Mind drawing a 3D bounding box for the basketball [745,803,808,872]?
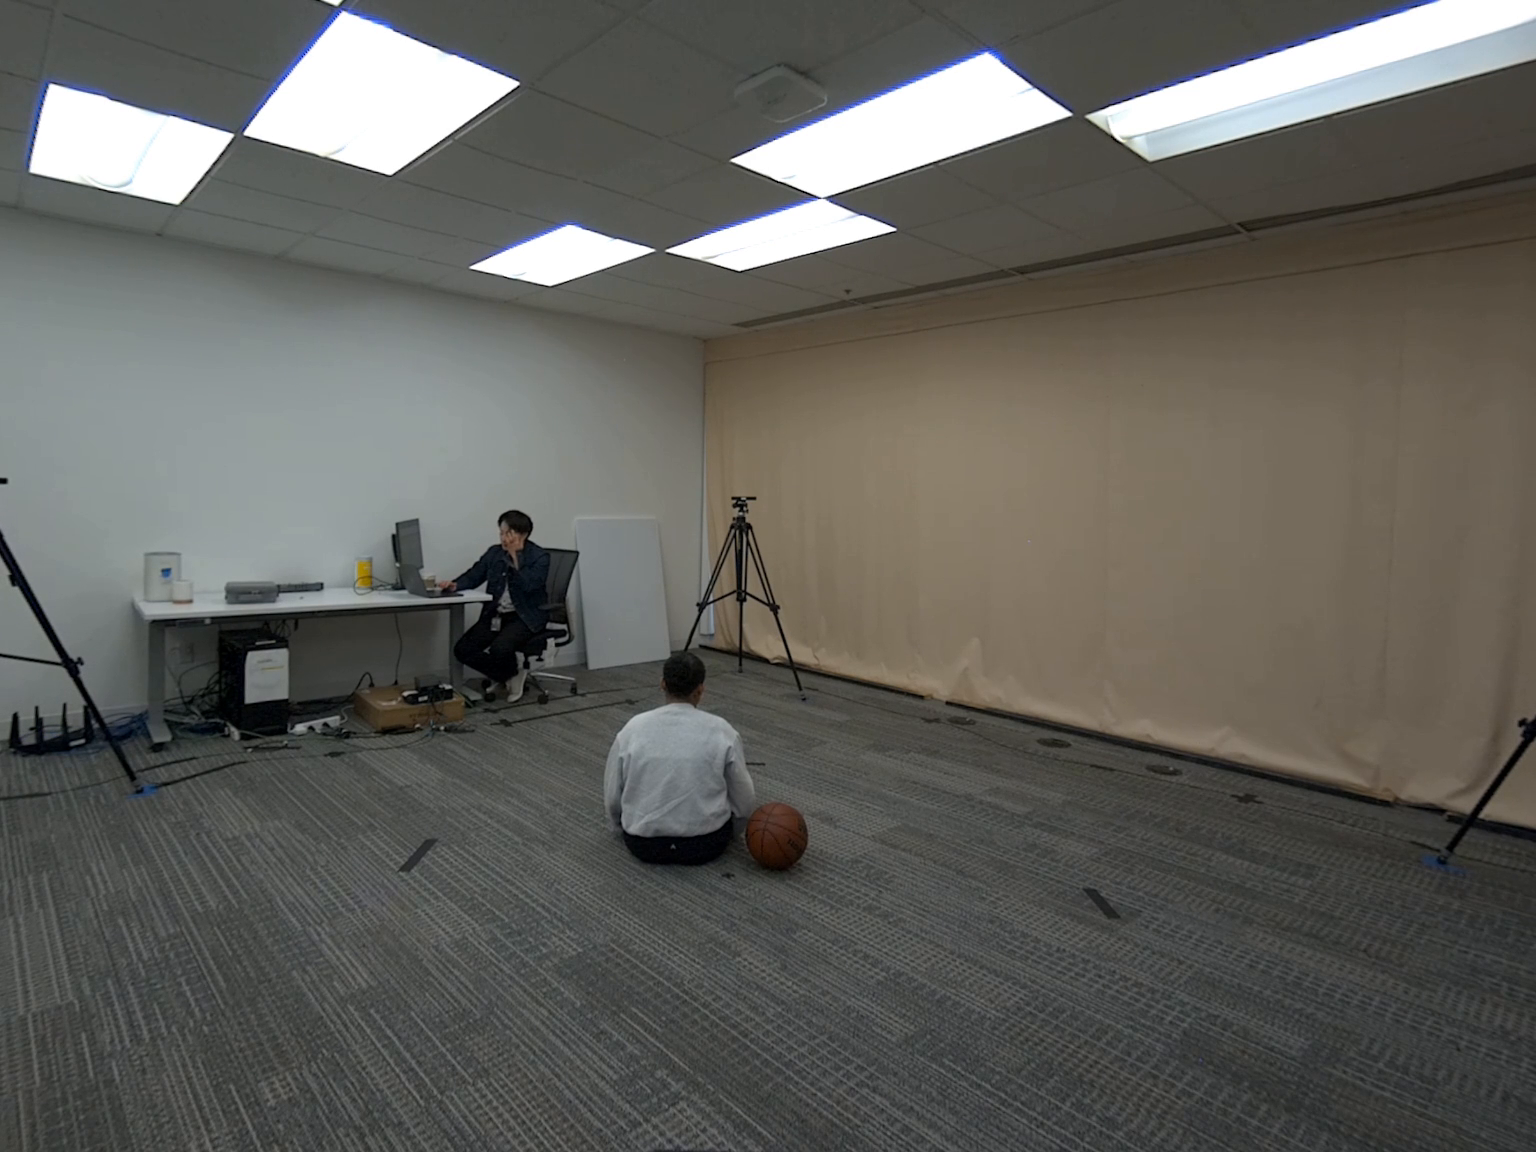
[{"bbox_3d":[0.026,0.979,3.189,0.236,0.235,0.237,1,4,-1],"label":"basketball"}]
